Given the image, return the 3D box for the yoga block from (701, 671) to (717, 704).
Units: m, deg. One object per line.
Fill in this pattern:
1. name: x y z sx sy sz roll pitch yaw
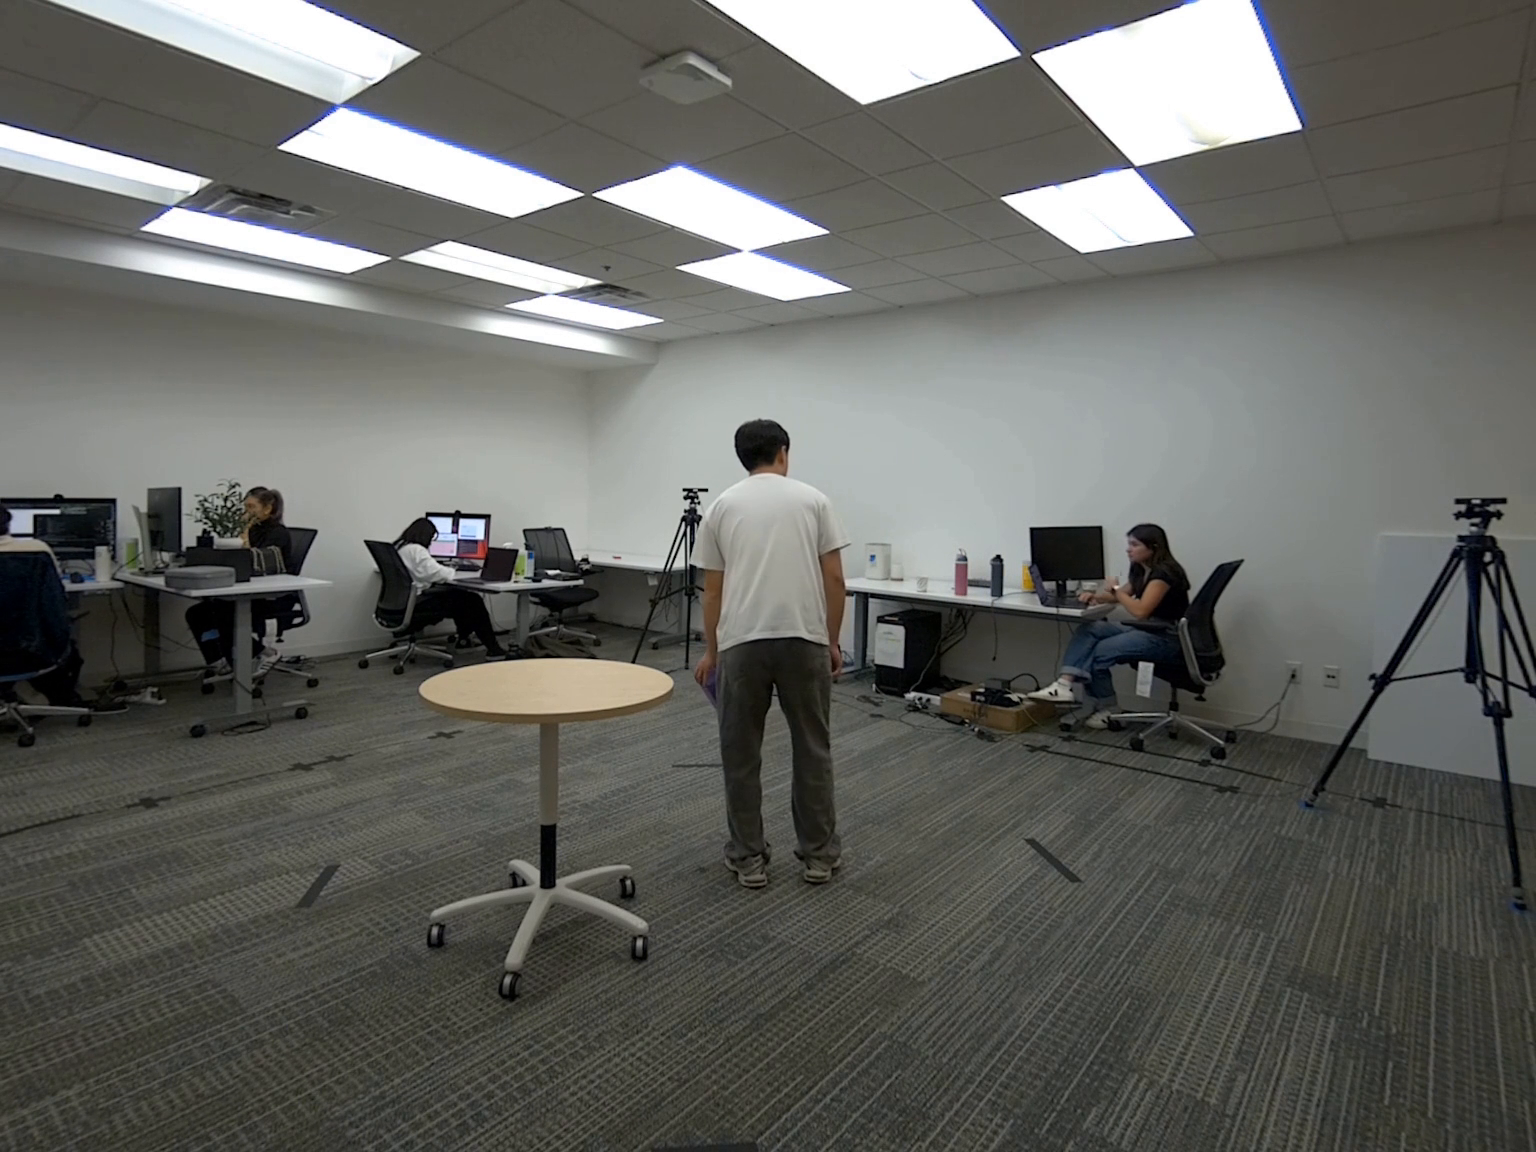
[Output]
1. yoga block: -0.188 0.446 3.373 0.076 0.222 0.155 -36 30 -15
